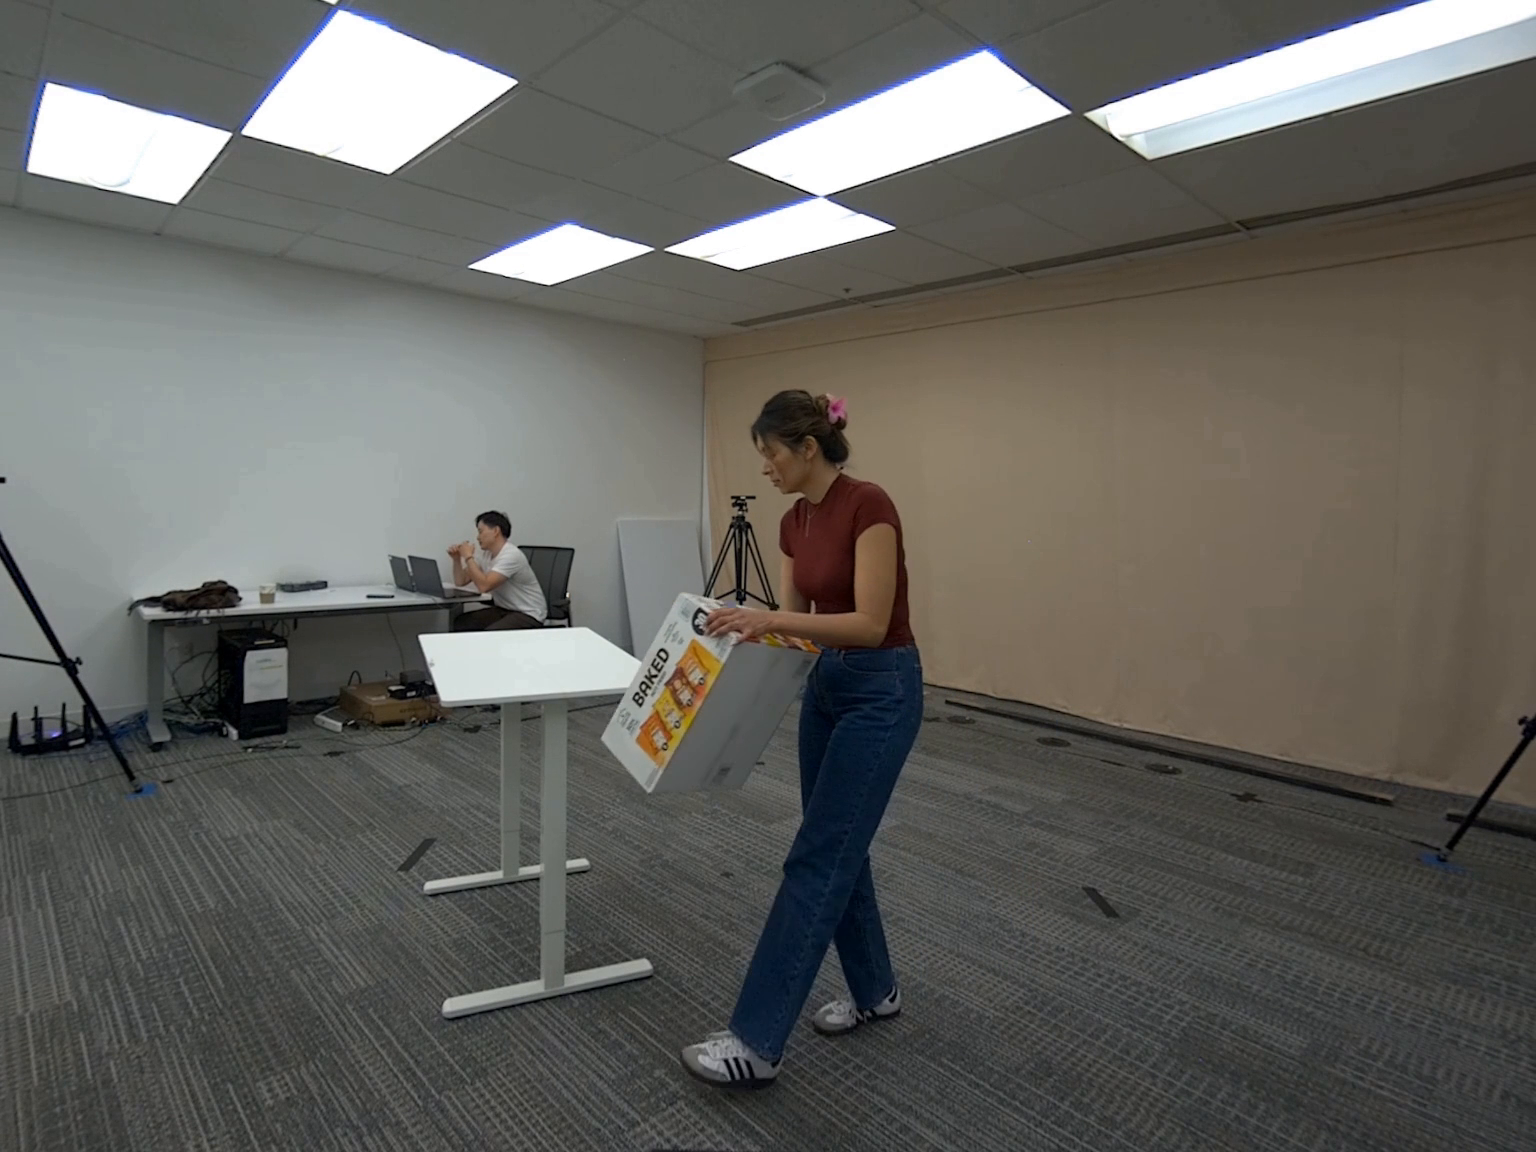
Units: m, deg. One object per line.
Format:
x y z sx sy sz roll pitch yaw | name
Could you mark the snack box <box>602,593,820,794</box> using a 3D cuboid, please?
-0.130 0.284 1.988 0.212 0.404 0.331 35 11 37 | snack box
